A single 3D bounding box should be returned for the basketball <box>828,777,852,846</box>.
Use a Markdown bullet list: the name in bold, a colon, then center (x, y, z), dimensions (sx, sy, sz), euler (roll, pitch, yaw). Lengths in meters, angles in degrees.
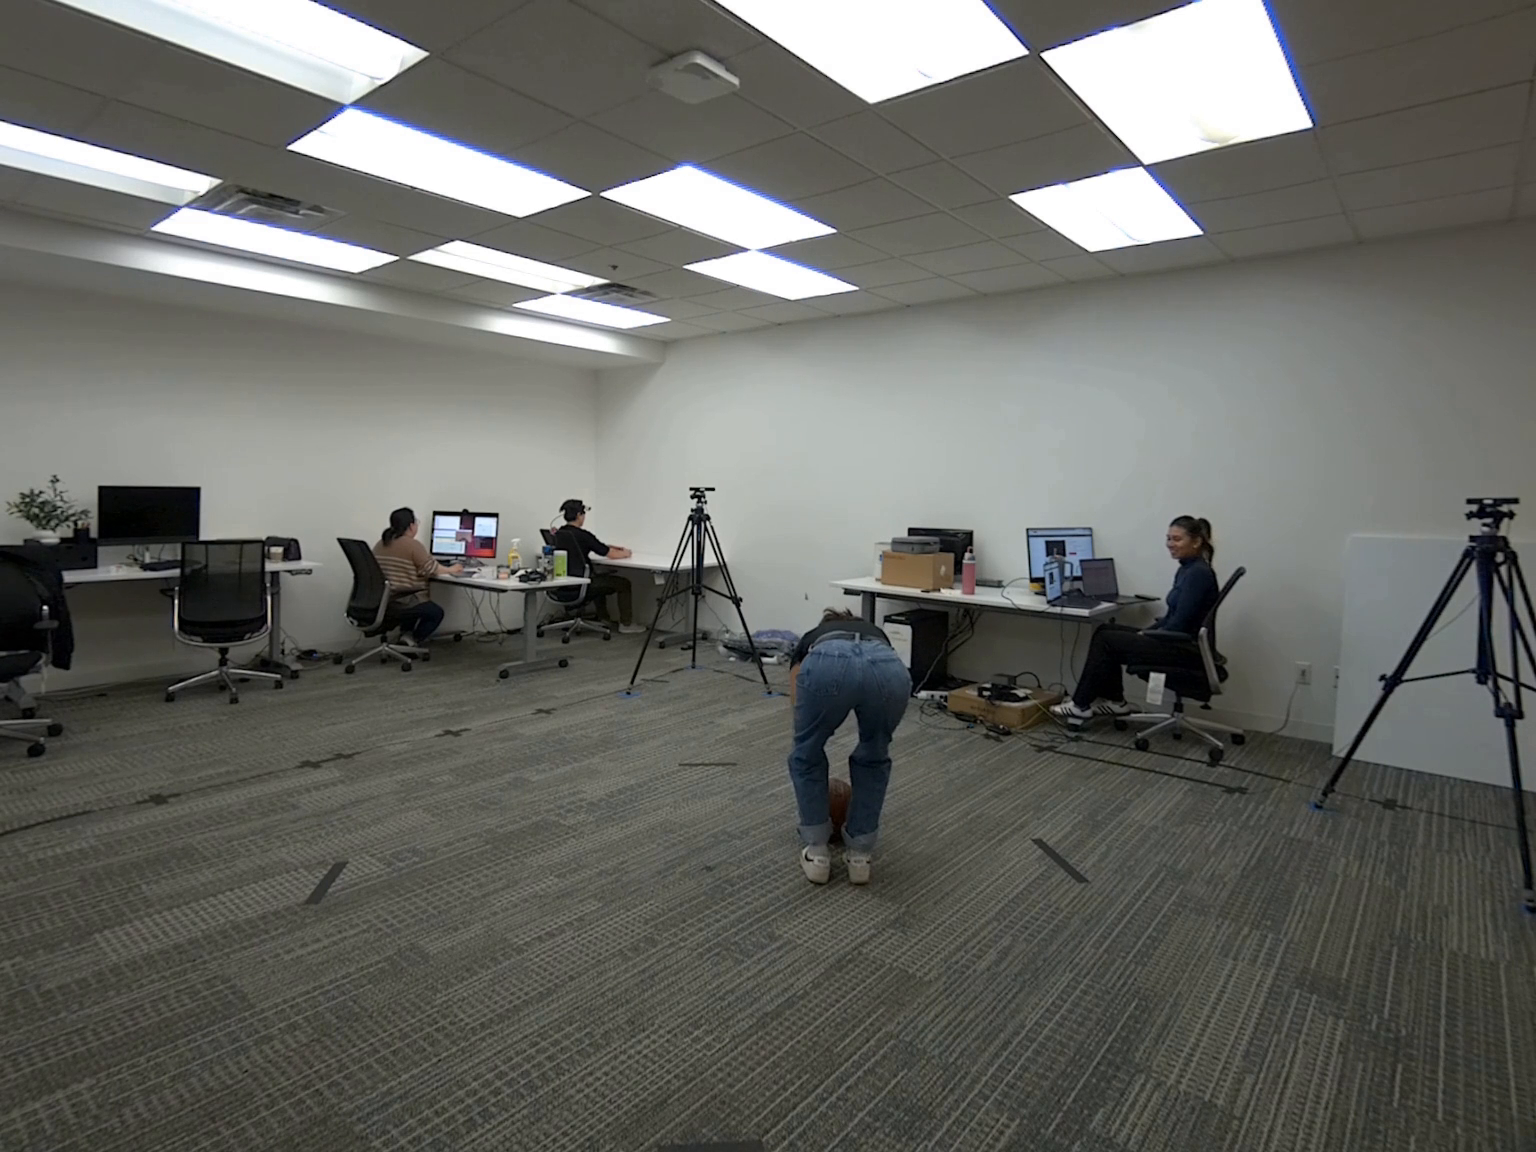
- **basketball**: center (0.242, 0.917, 3.392), dimensions (0.235, 0.235, 0.237), euler (1, 4, -2)
